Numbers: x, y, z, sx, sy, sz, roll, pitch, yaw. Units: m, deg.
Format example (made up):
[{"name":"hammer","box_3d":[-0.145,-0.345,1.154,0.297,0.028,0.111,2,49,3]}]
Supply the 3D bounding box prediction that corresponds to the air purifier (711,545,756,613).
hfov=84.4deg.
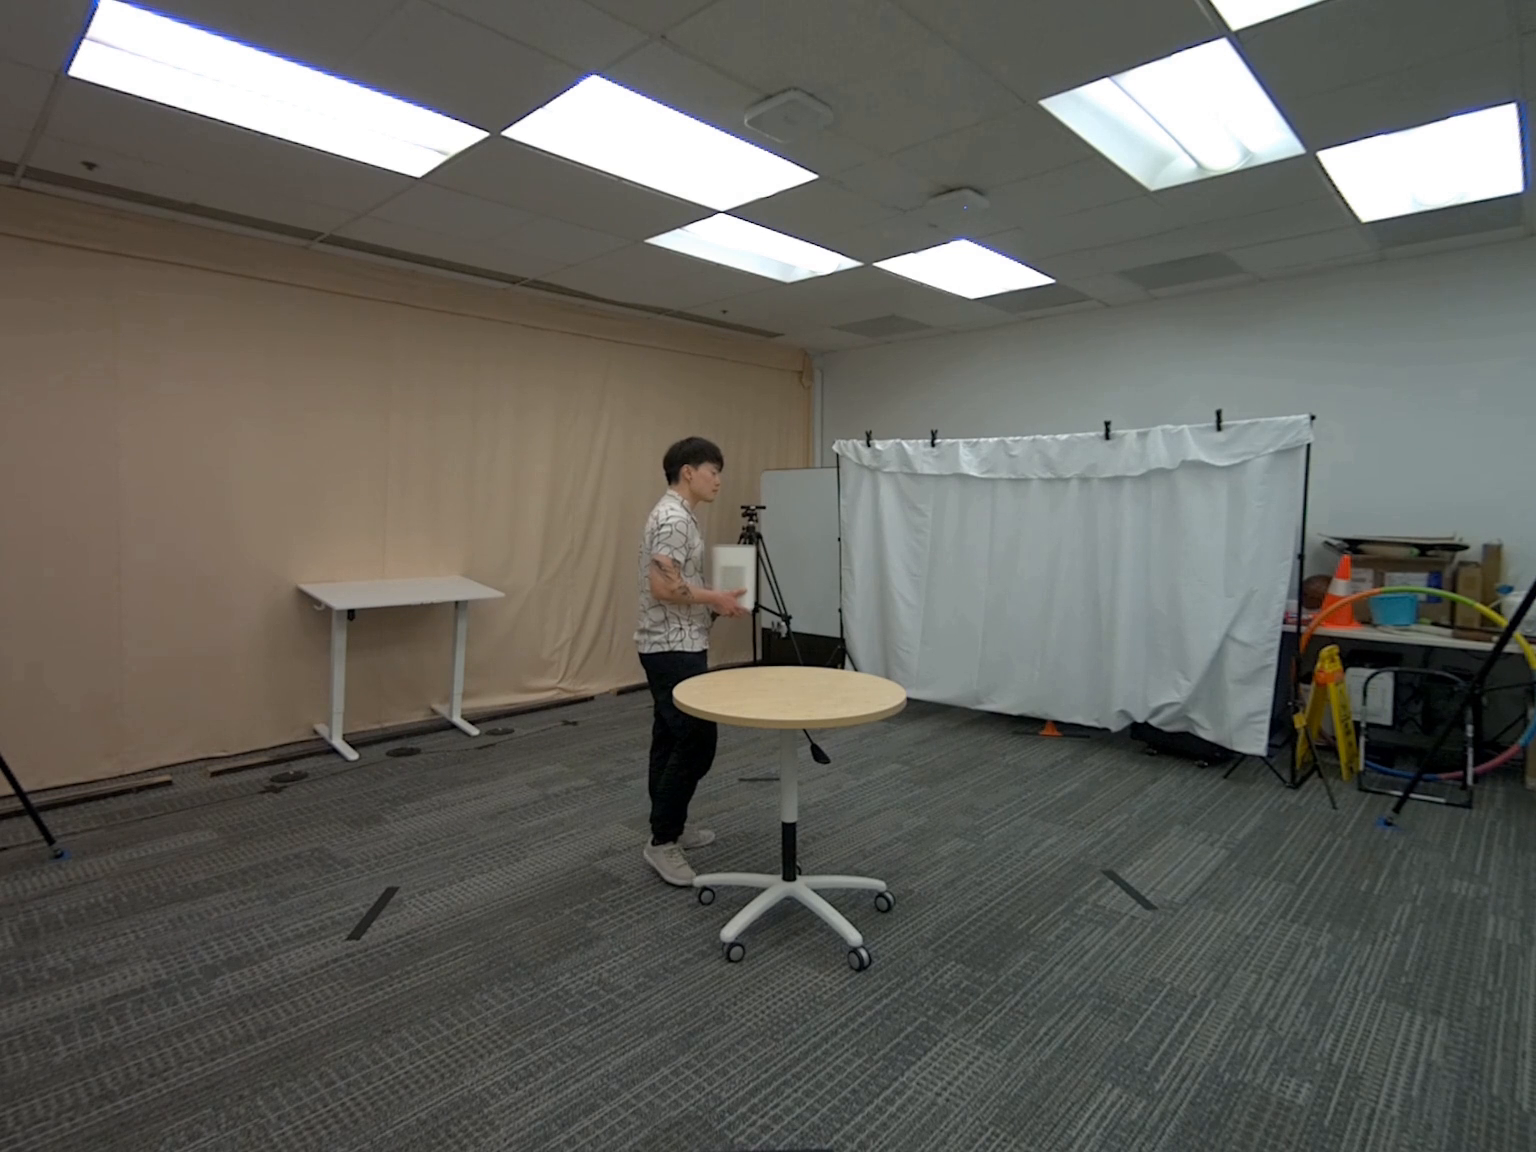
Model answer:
[{"name":"air purifier","box_3d":[-0.134,0.011,3.335,0.172,0.265,0.170,2,2,3]}]
